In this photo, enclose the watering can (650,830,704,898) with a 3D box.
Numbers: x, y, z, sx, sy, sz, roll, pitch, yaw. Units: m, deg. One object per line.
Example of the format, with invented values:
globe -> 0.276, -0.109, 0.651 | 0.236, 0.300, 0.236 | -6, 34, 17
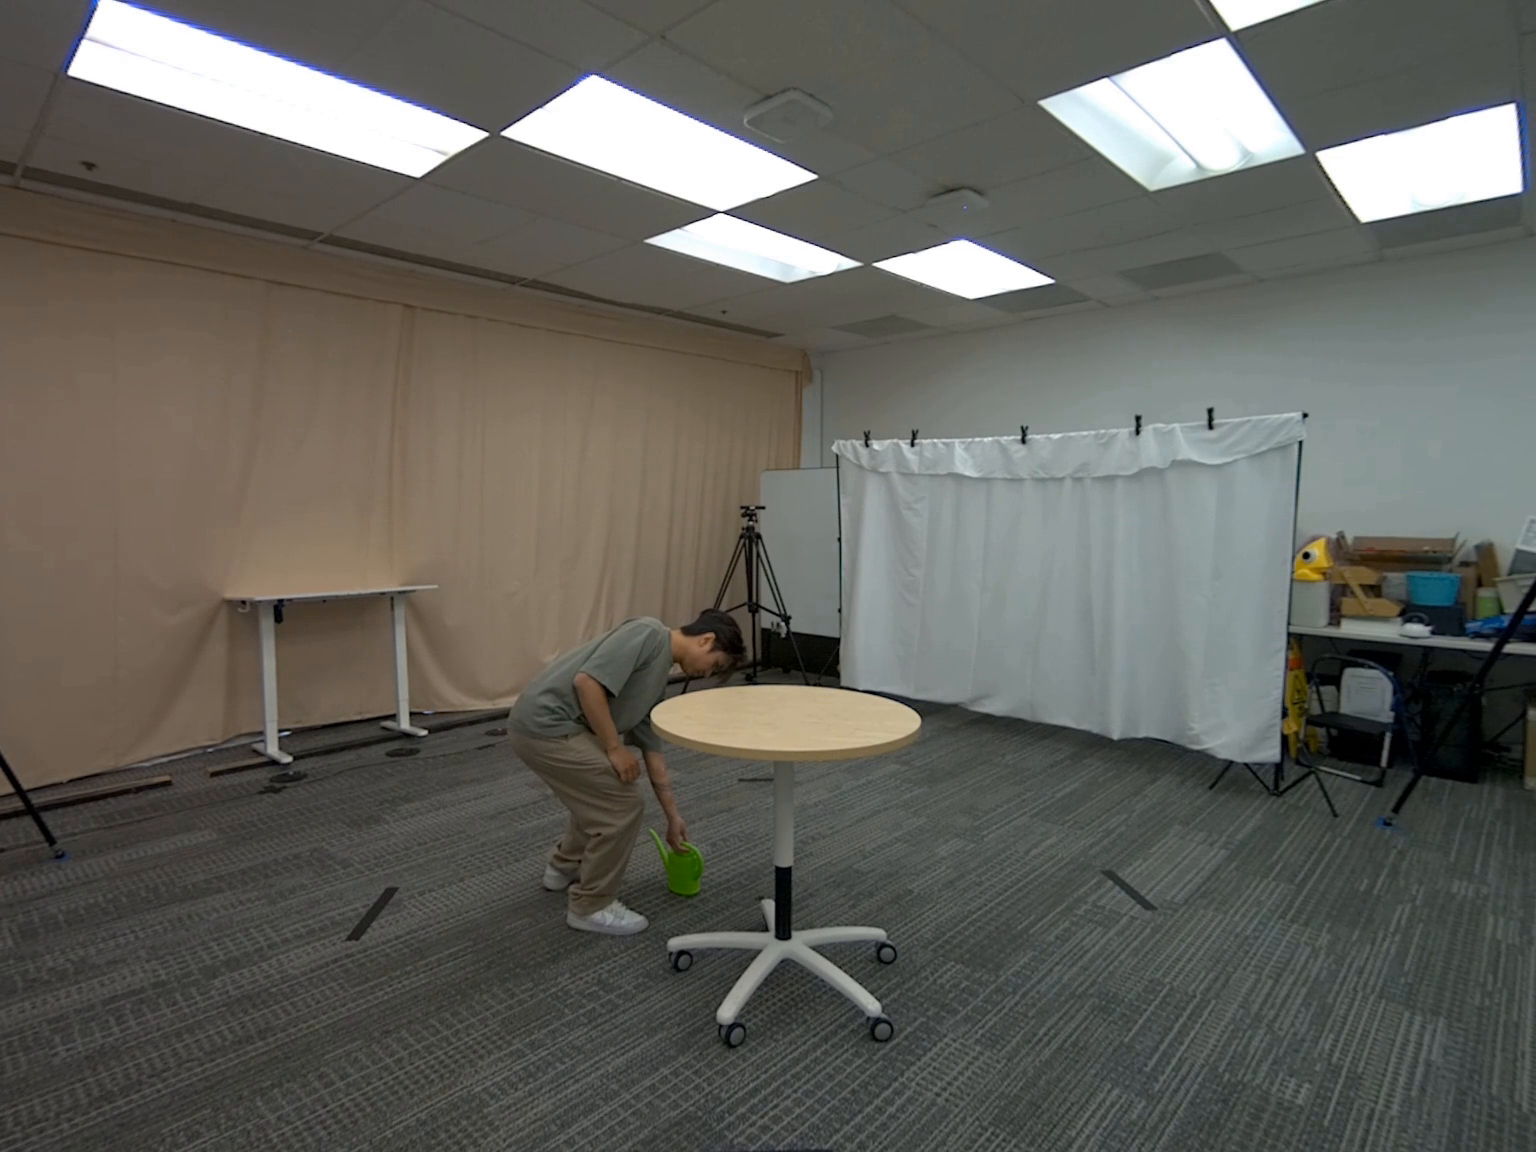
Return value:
watering can -> -0.332, 1.043, 3.085 | 0.095, 0.176, 0.287 | -2, 6, -38
